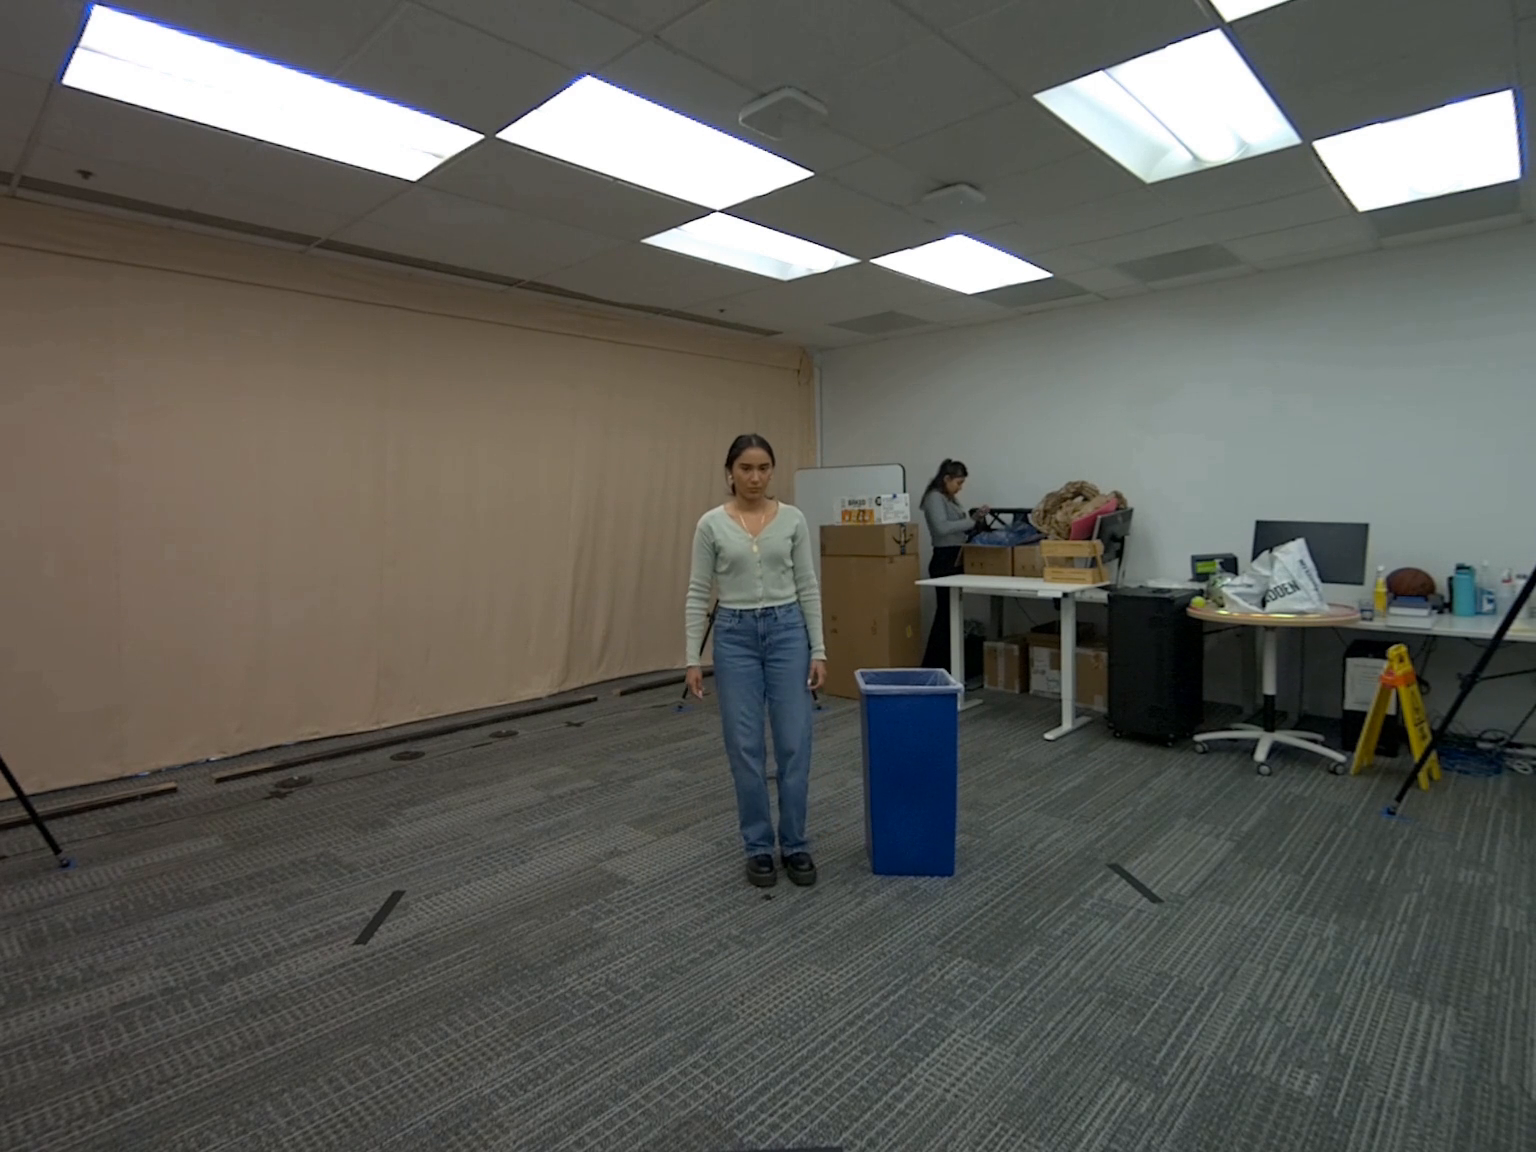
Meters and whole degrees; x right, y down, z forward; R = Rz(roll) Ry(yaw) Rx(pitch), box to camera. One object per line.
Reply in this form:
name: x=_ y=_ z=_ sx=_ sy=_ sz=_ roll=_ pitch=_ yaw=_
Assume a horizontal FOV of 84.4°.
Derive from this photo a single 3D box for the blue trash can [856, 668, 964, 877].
blue trash can: x=0.535 y=0.748 z=3.259 sx=0.375 sy=0.712 sz=0.377 roll=-1 pitch=3 yaw=3
